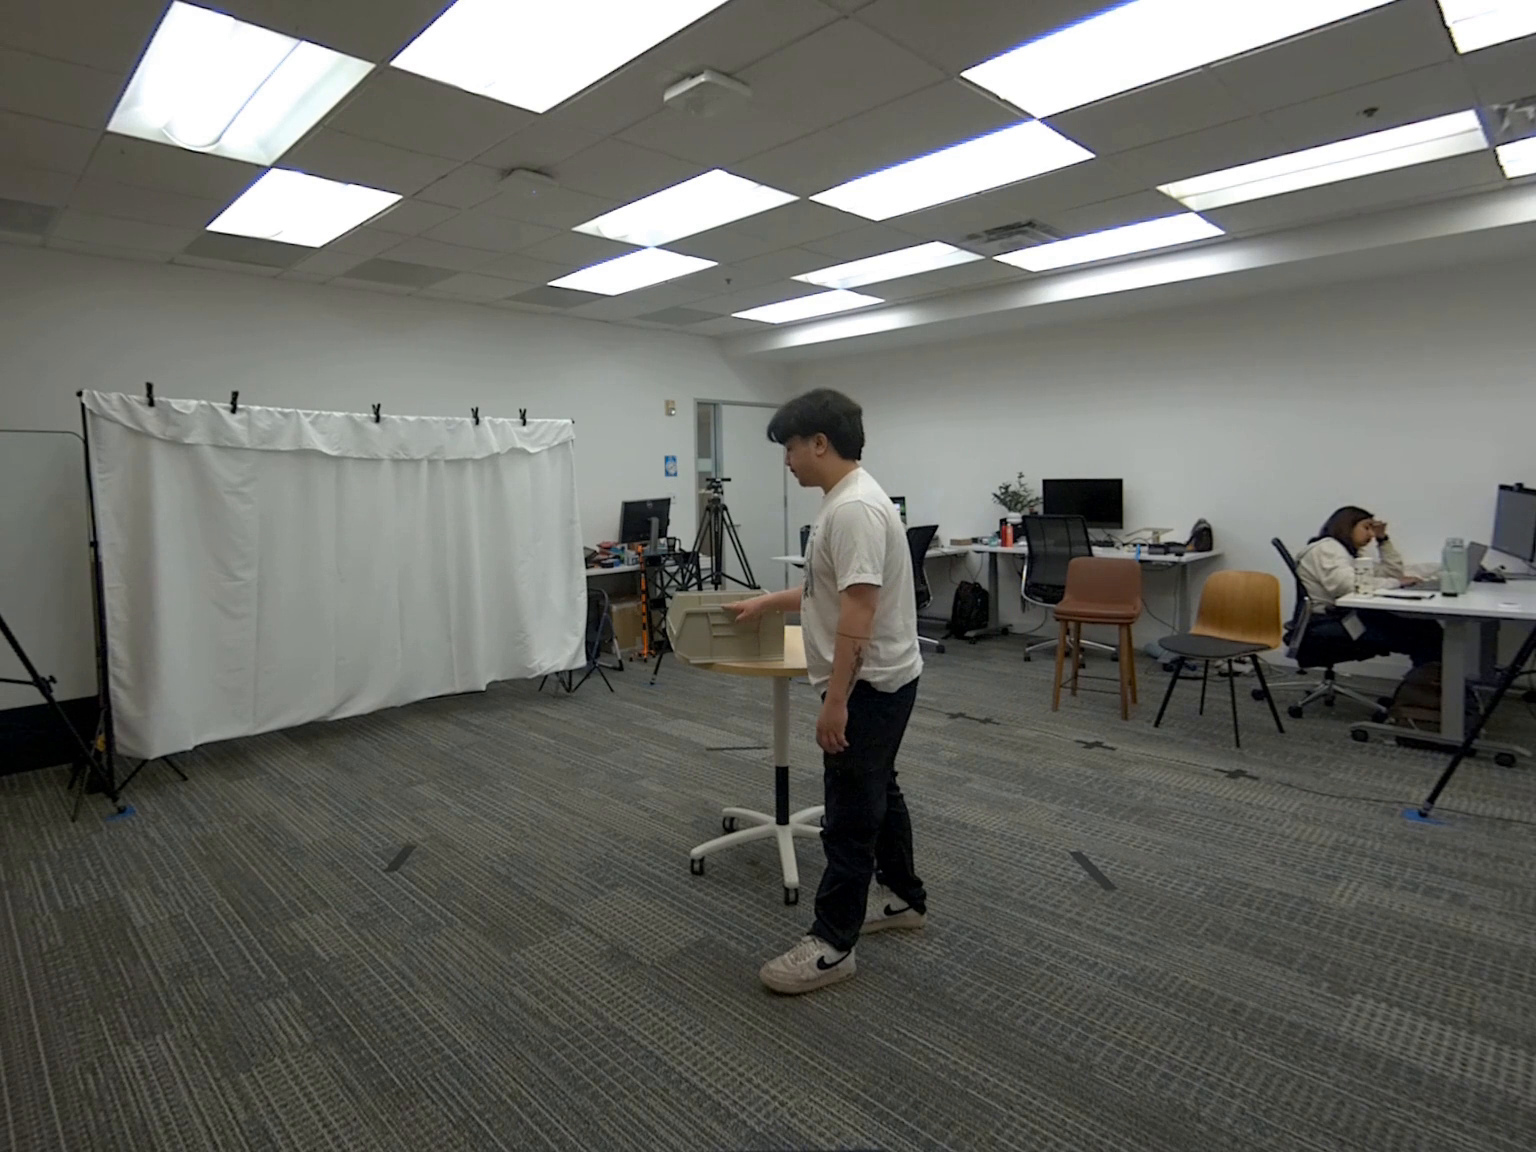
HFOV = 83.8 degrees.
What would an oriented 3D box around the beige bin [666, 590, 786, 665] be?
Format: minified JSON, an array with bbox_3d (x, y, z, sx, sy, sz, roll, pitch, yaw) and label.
[{"bbox_3d":[-0.153,0.169,2.974,0.374,0.188,0.428,0,6,-11],"label":"beige bin"}]
